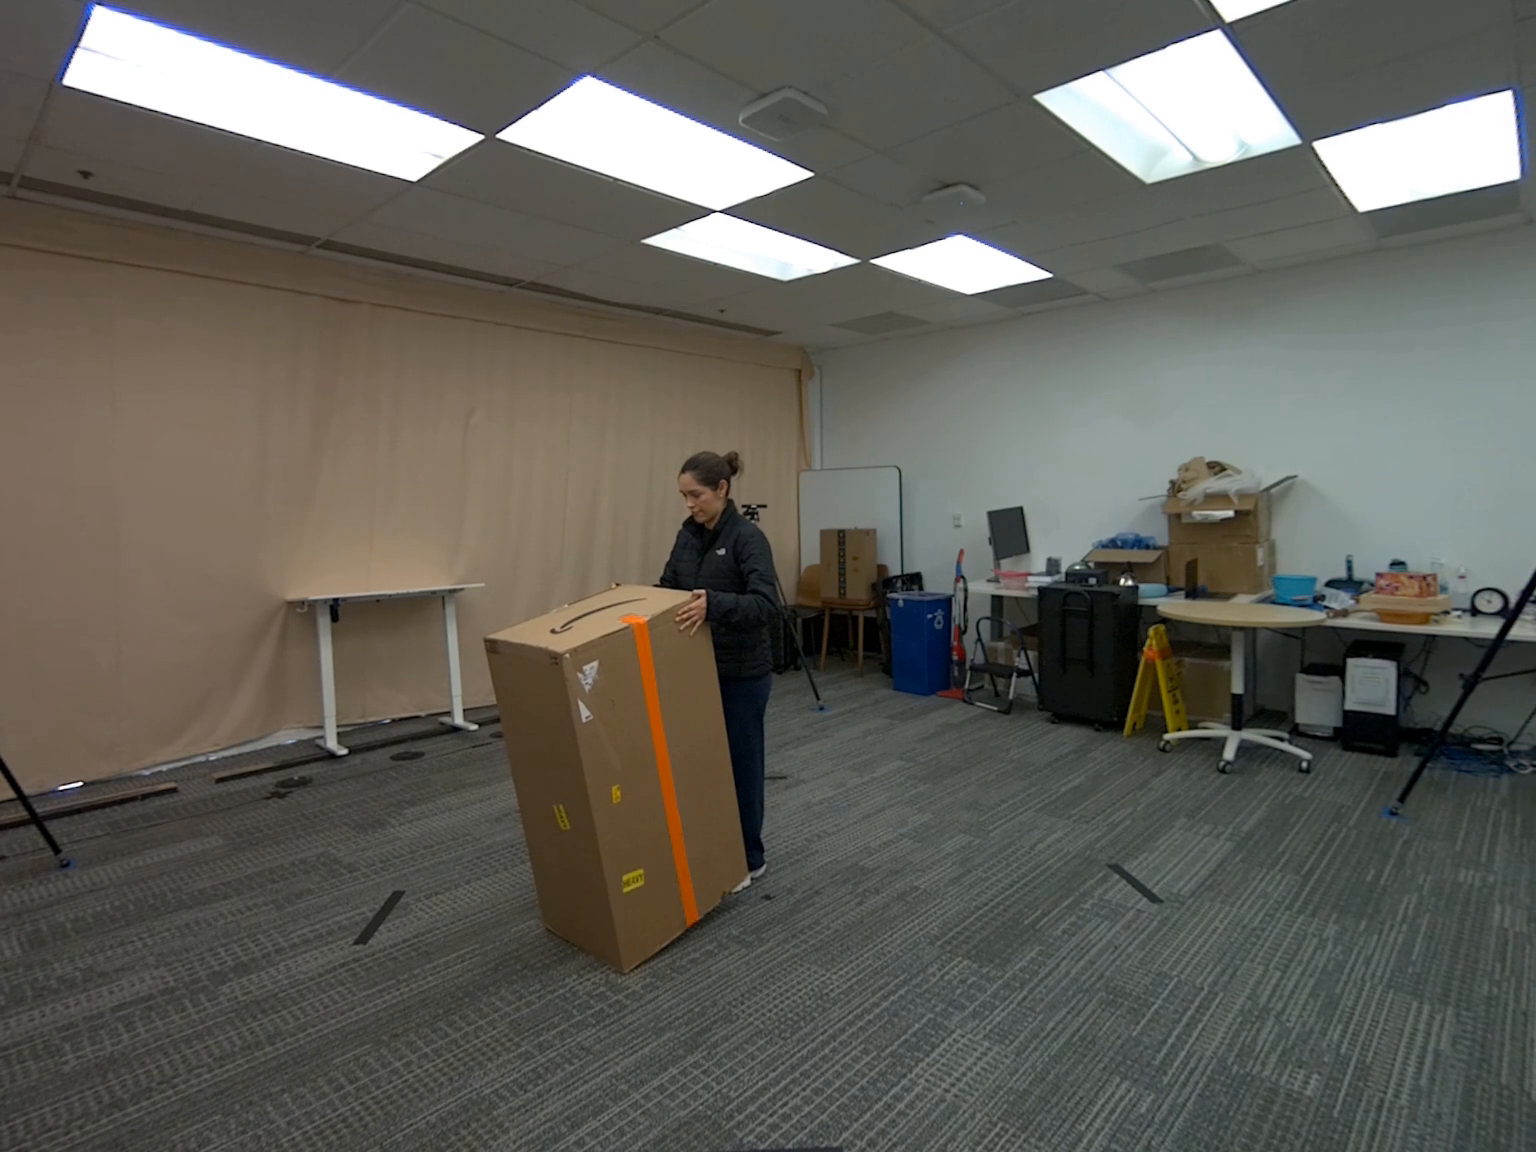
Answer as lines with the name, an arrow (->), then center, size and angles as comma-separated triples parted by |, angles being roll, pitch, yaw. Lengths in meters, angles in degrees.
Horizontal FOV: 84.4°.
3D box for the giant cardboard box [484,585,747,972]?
giant cardboard box -> -0.462, 0.618, 2.743 | 0.440, 1.016, 0.564 | 3, 16, 43
